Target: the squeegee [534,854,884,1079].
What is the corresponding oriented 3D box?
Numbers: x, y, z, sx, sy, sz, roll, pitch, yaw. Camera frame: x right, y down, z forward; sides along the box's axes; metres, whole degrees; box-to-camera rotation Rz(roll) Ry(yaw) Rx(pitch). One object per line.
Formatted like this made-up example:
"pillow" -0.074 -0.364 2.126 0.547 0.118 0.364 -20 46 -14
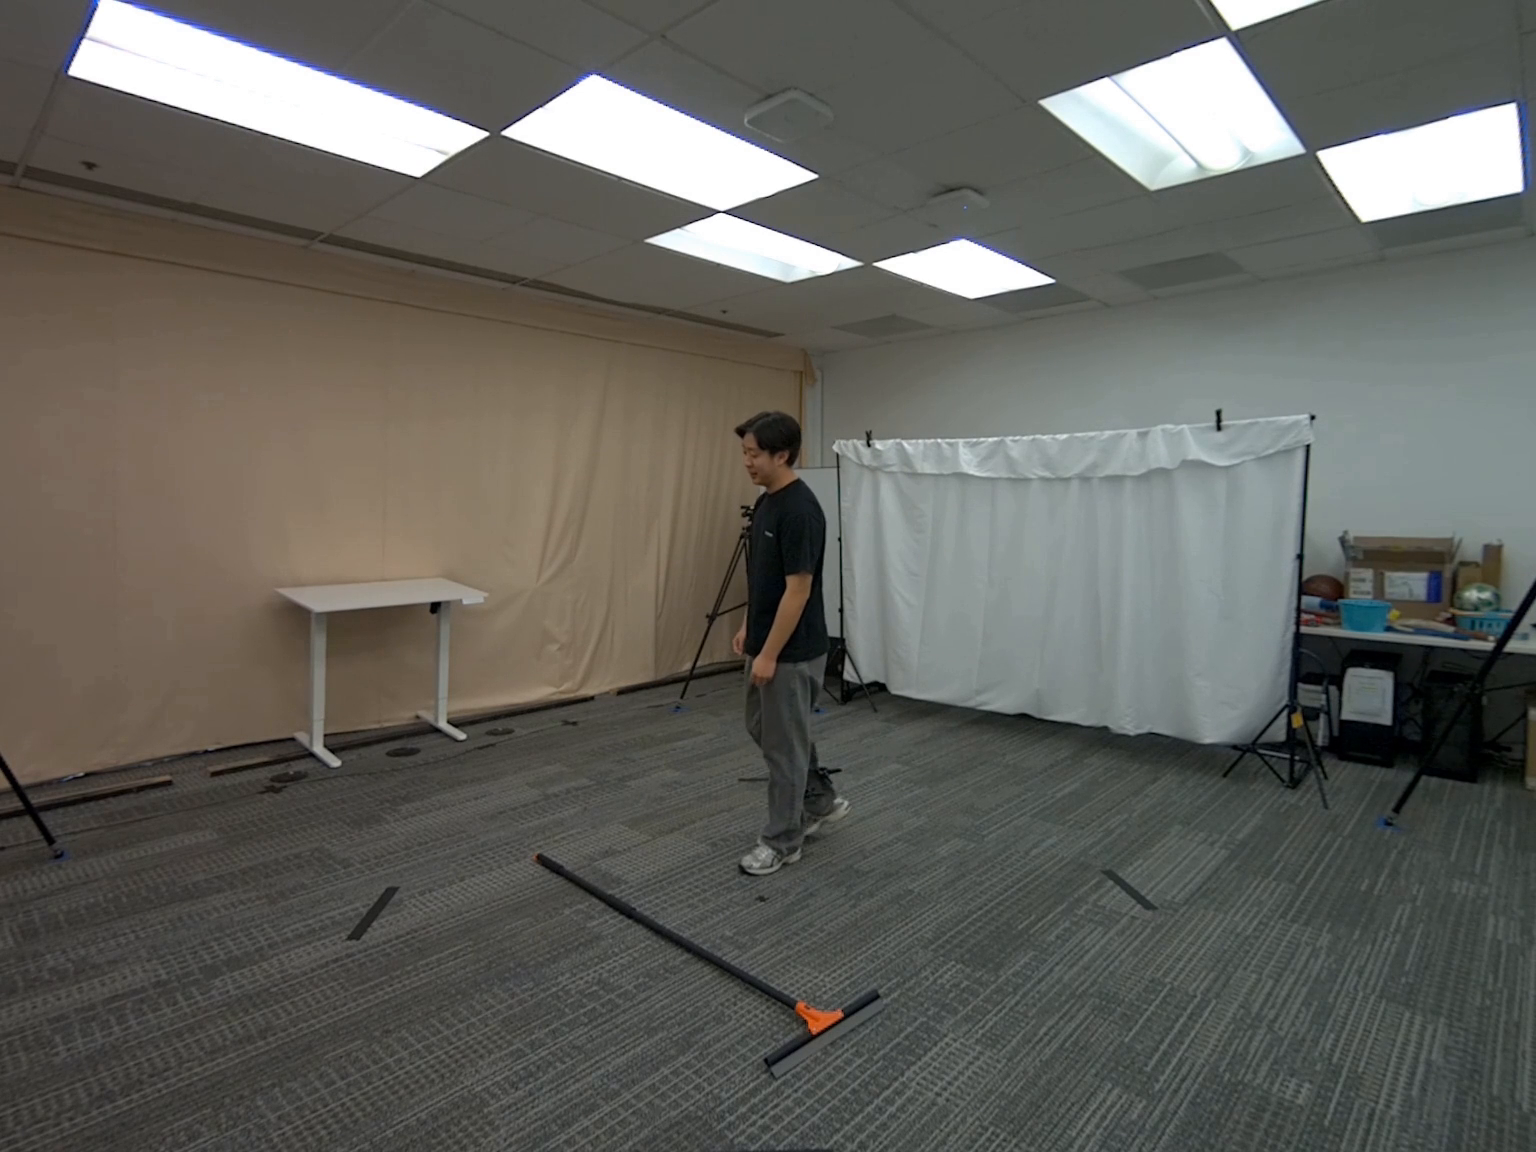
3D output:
"squeegee" -0.361 1.128 2.766 0.424 0.053 1.588 -5 5 -43
